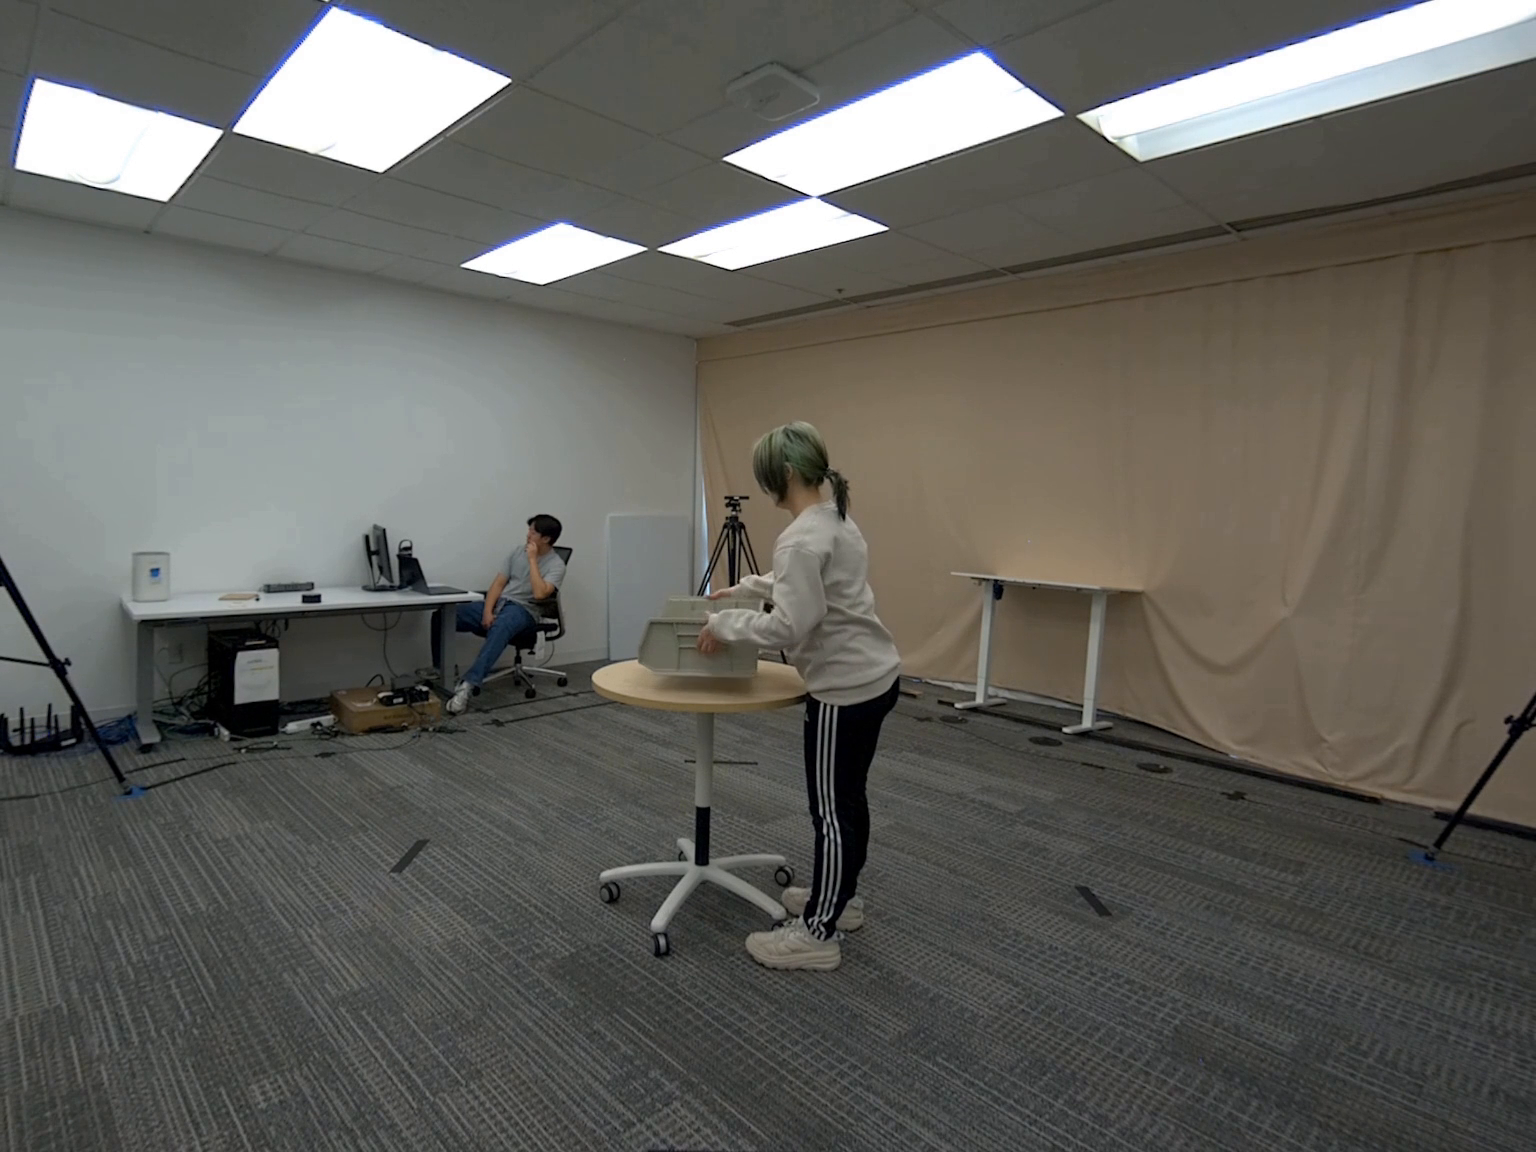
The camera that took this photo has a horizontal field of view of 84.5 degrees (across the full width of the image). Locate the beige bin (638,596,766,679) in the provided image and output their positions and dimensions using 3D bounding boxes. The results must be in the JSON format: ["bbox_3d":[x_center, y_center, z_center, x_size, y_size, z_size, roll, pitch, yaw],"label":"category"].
[{"bbox_3d":[-0.224,0.198,2.774,0.379,0.188,0.423,3,10,5],"label":"beige bin"}]
